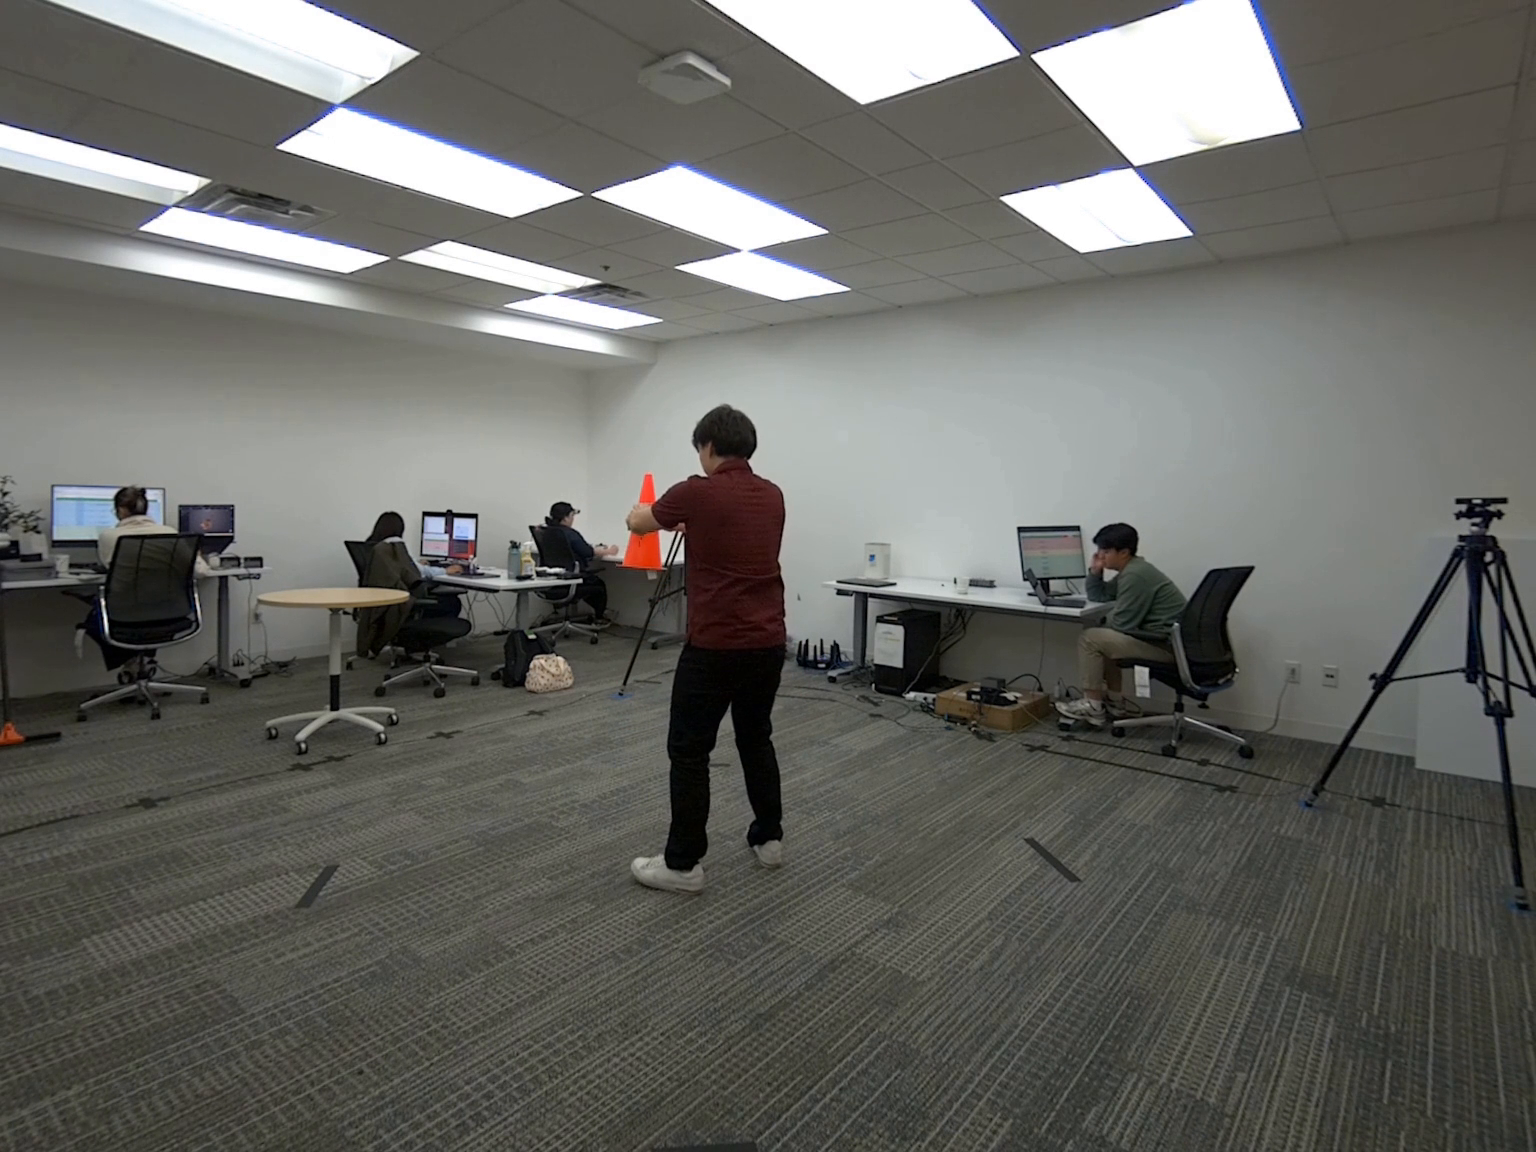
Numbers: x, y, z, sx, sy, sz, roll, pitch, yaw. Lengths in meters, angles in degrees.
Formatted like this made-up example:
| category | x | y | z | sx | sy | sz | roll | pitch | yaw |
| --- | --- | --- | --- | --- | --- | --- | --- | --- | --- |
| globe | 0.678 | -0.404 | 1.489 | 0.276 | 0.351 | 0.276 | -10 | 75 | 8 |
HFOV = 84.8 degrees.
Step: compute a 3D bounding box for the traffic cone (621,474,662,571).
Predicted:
| category | x | y | z | sx | sy | sz | roll | pitch | yaw |
| --- | --- | --- | --- | --- | --- | --- | --- | --- | --- |
| traffic cone | -0.506 | -0.219 | 3.440 | 0.199 | 0.384 | 0.209 | 4 | 0 | -28 |
